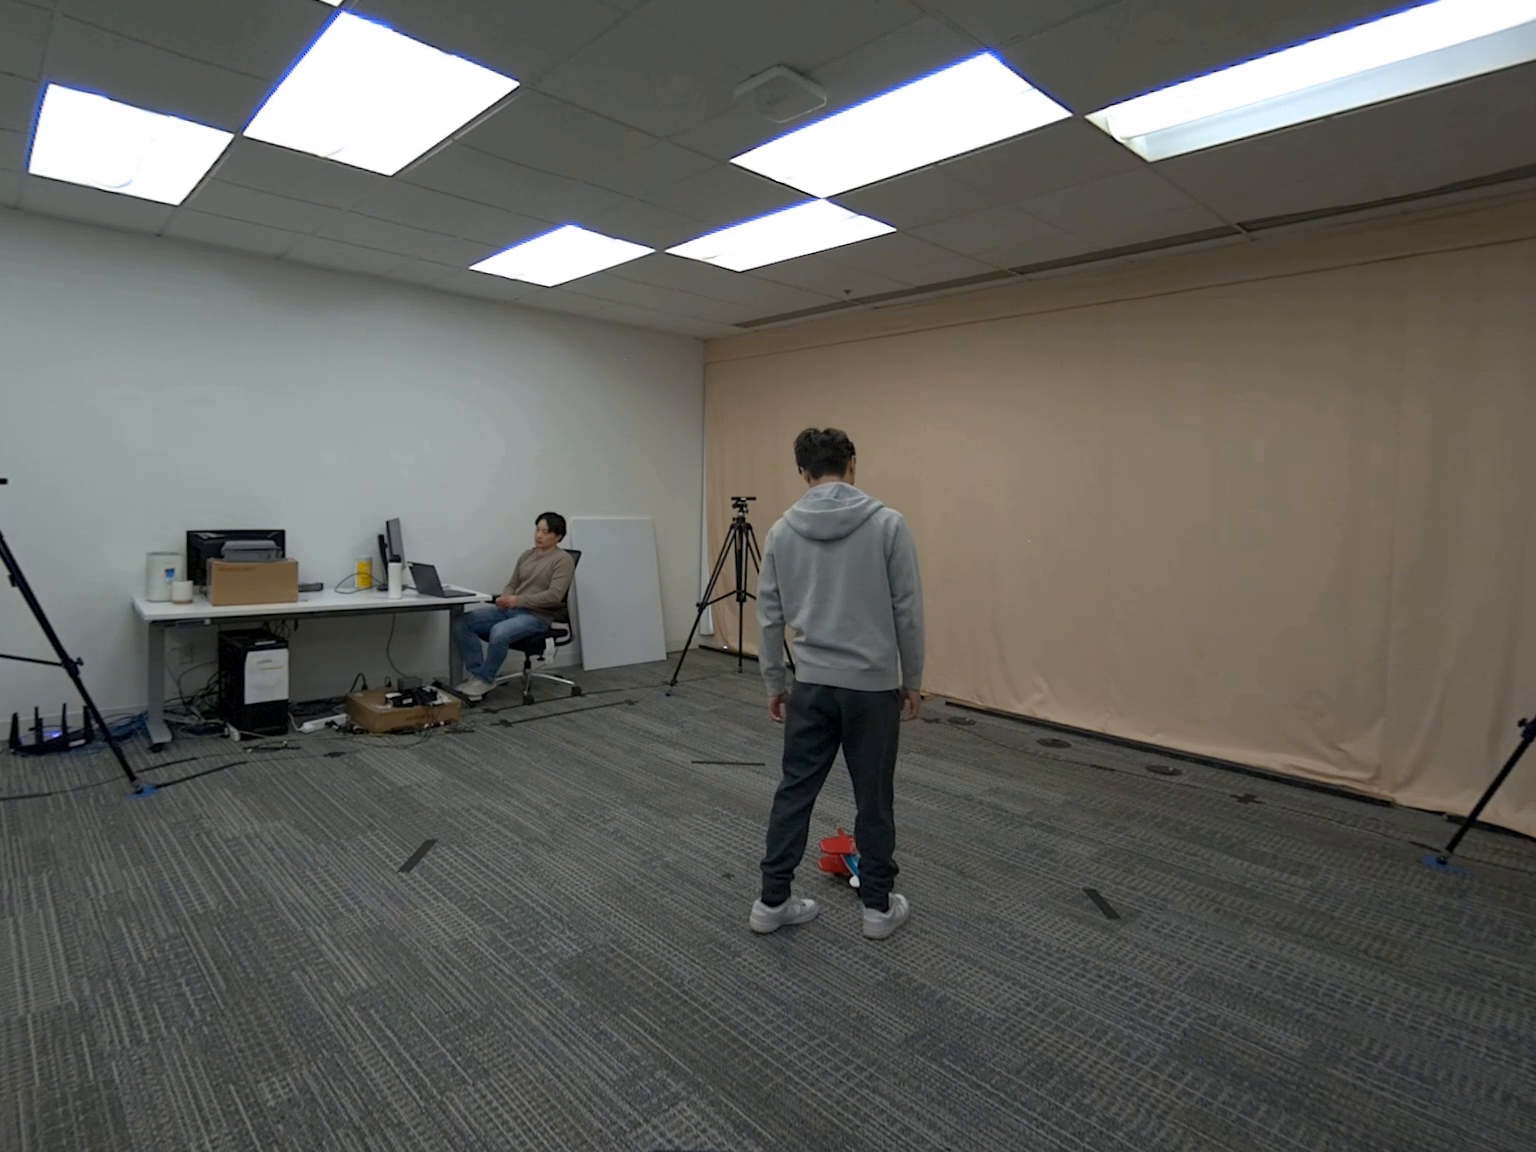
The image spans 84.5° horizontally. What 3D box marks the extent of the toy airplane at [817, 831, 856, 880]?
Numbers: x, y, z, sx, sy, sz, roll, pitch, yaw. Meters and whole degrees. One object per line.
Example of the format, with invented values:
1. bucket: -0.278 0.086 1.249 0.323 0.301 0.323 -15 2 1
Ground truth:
1. toy airplane: 0.333 1.052 3.057 0.245 0.156 0.266 -3 6 -41
